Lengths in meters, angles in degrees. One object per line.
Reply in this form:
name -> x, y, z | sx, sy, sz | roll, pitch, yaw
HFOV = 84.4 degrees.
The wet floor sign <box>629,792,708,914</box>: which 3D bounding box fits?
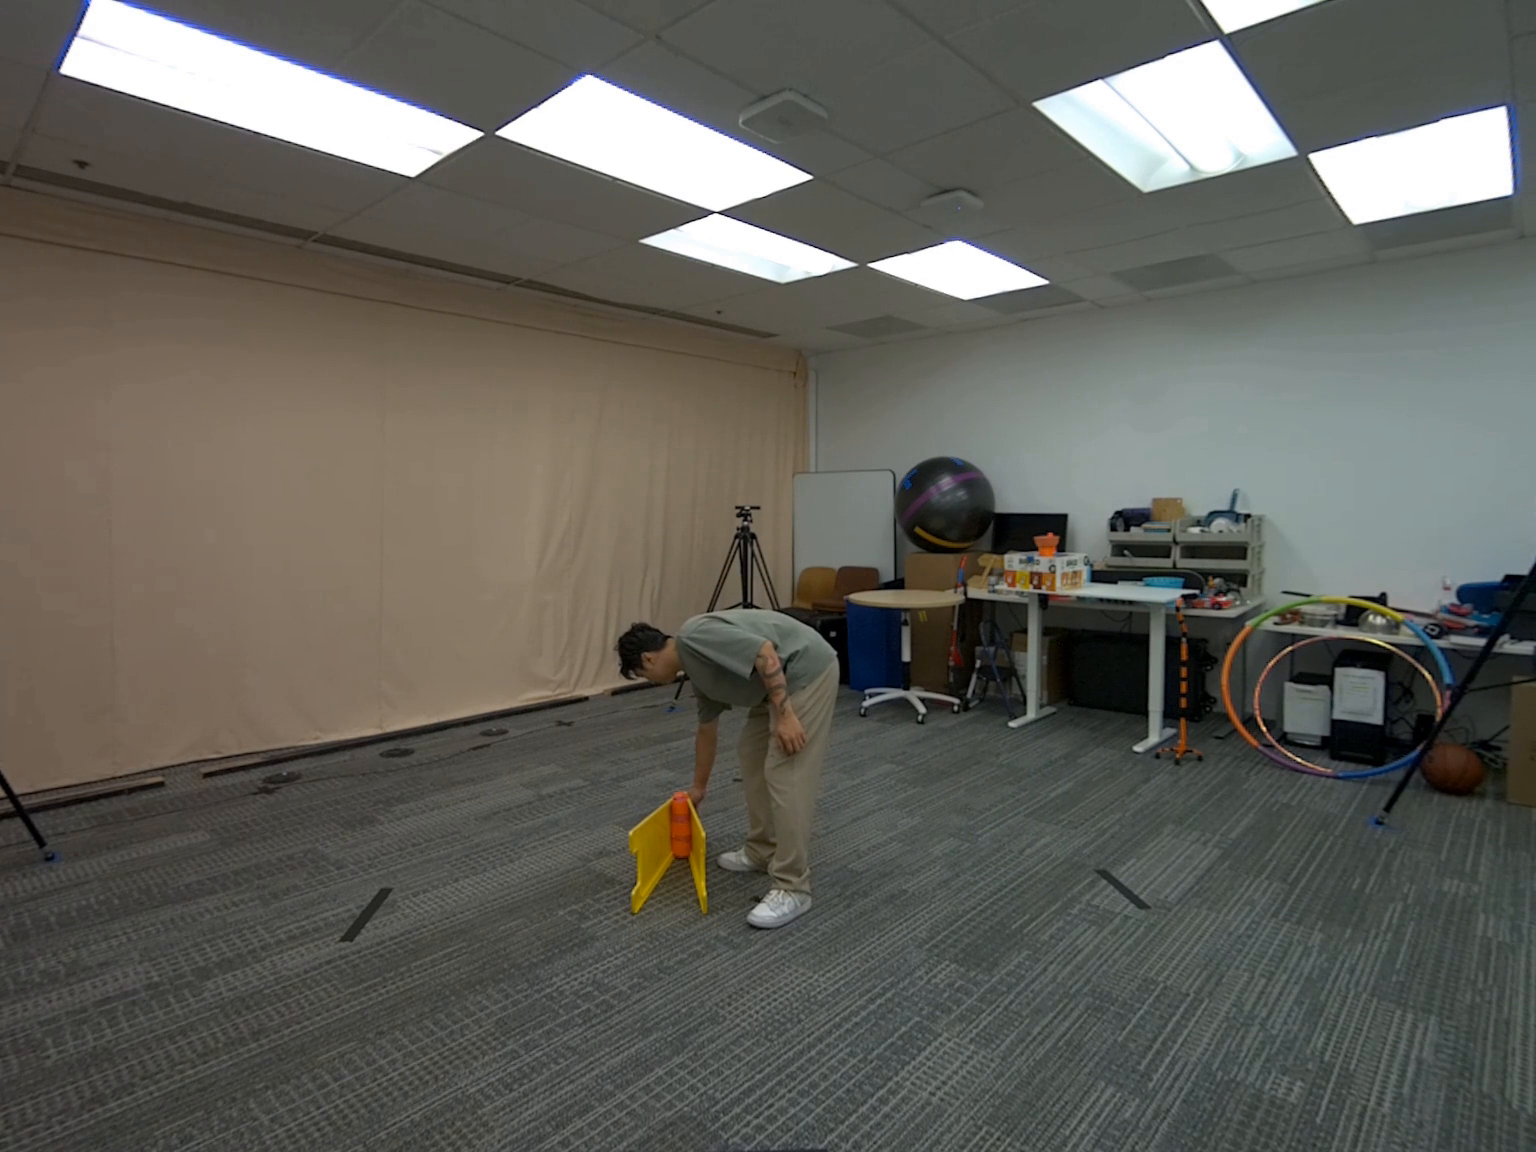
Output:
wet floor sign -> -0.337, 1.005, 3.192 | 0.290, 0.282, 0.645 | 0, 1, 0
